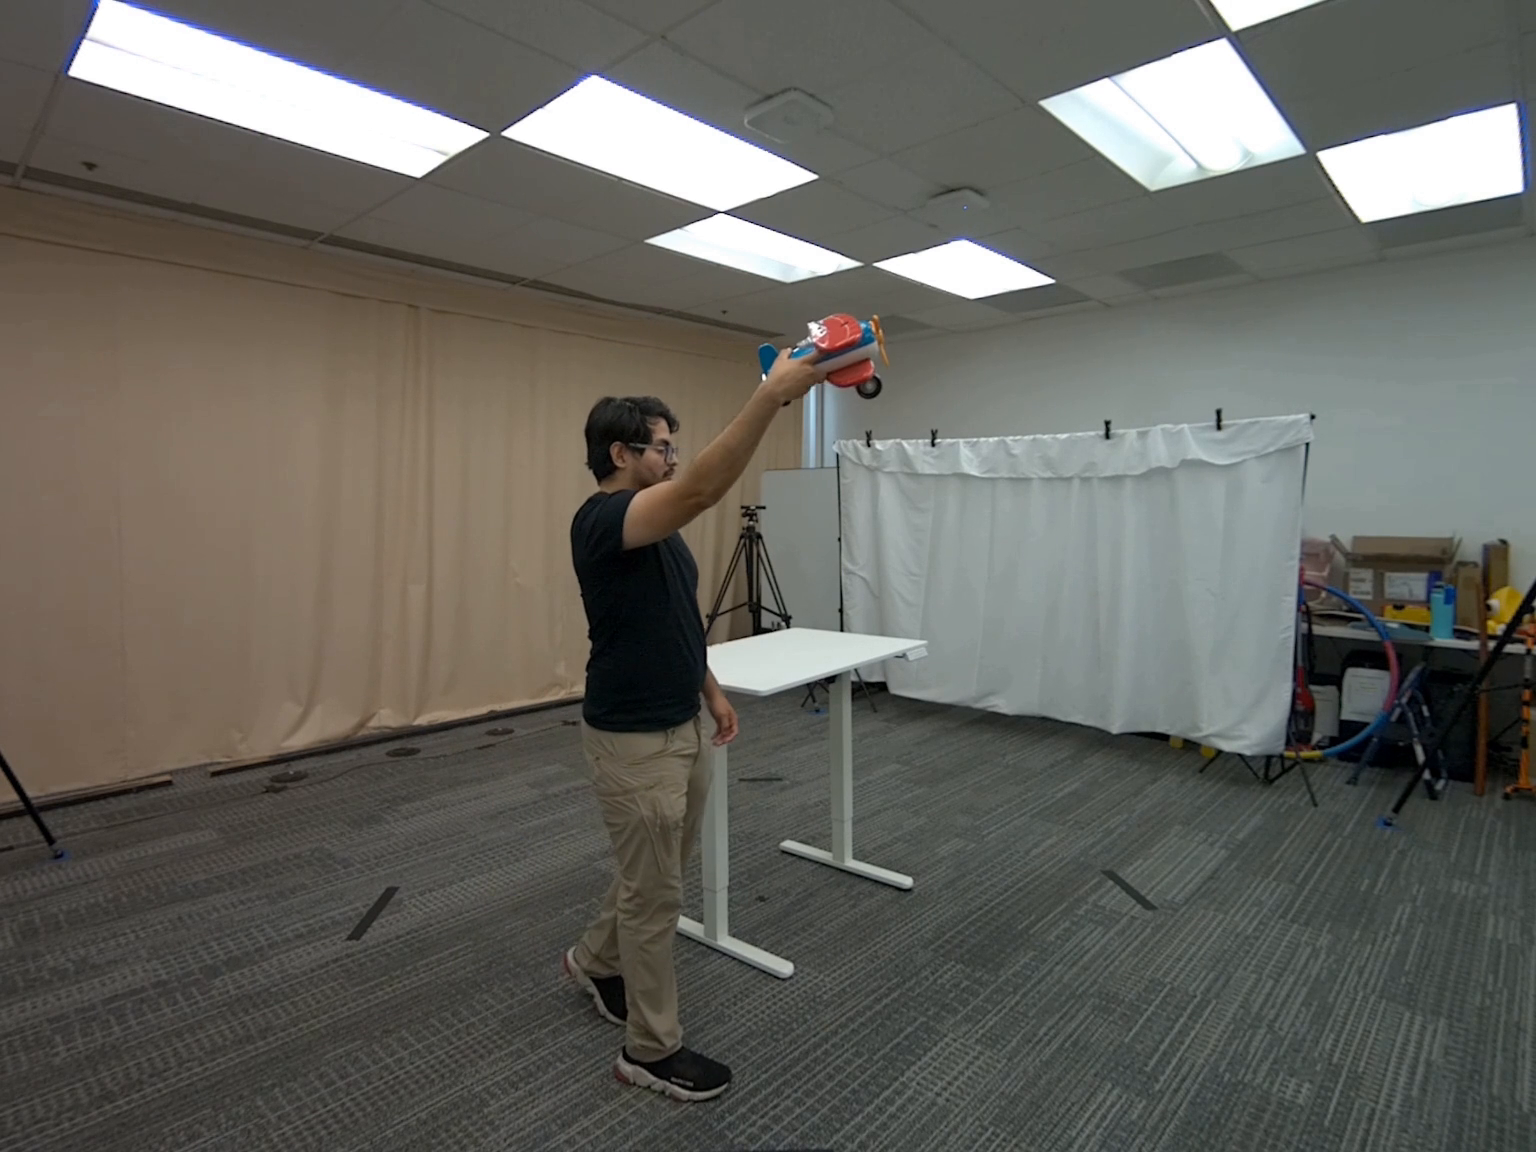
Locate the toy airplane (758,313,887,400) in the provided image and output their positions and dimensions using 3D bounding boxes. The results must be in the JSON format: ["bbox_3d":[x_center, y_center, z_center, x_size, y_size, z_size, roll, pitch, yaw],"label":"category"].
[{"bbox_3d":[0.126,-0.442,1.743,0.255,0.153,0.260,-21,30,-25],"label":"toy airplane"}]
